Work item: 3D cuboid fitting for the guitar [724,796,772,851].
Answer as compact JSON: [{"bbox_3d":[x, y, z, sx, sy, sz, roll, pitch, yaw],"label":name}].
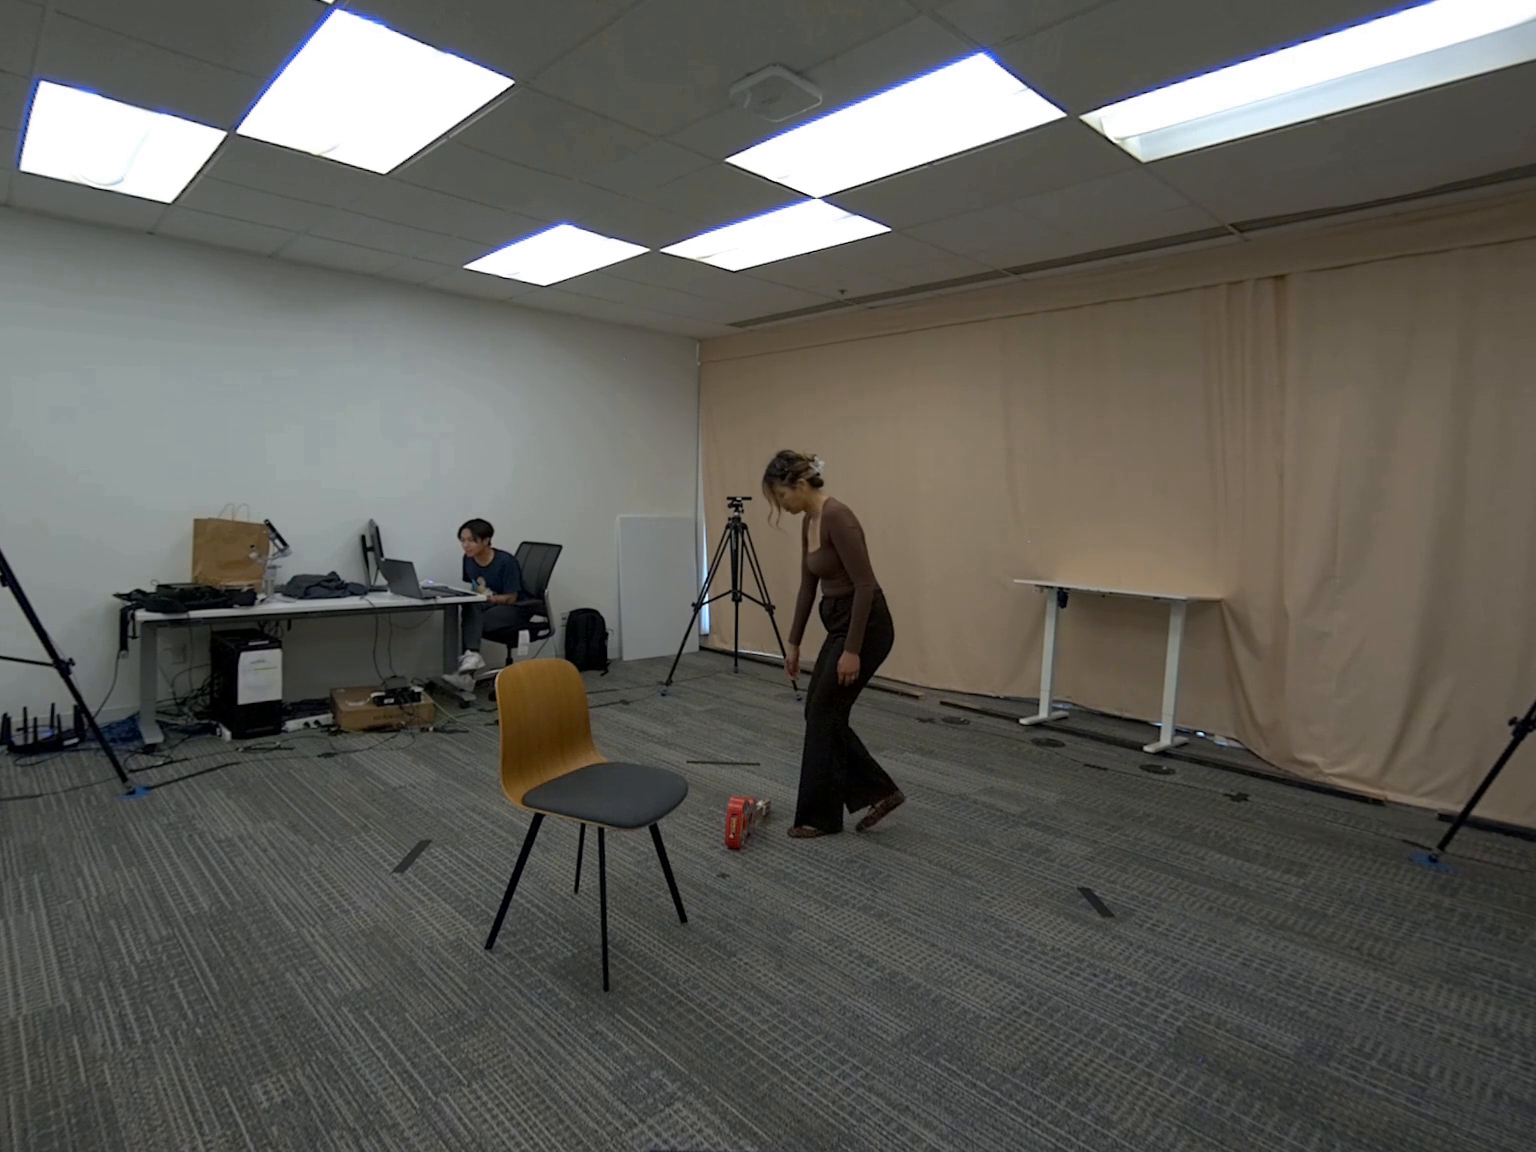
[{"bbox_3d":[-0.087,1.031,3.533,0.071,0.194,0.487,4,-13,14],"label":"guitar"}]
